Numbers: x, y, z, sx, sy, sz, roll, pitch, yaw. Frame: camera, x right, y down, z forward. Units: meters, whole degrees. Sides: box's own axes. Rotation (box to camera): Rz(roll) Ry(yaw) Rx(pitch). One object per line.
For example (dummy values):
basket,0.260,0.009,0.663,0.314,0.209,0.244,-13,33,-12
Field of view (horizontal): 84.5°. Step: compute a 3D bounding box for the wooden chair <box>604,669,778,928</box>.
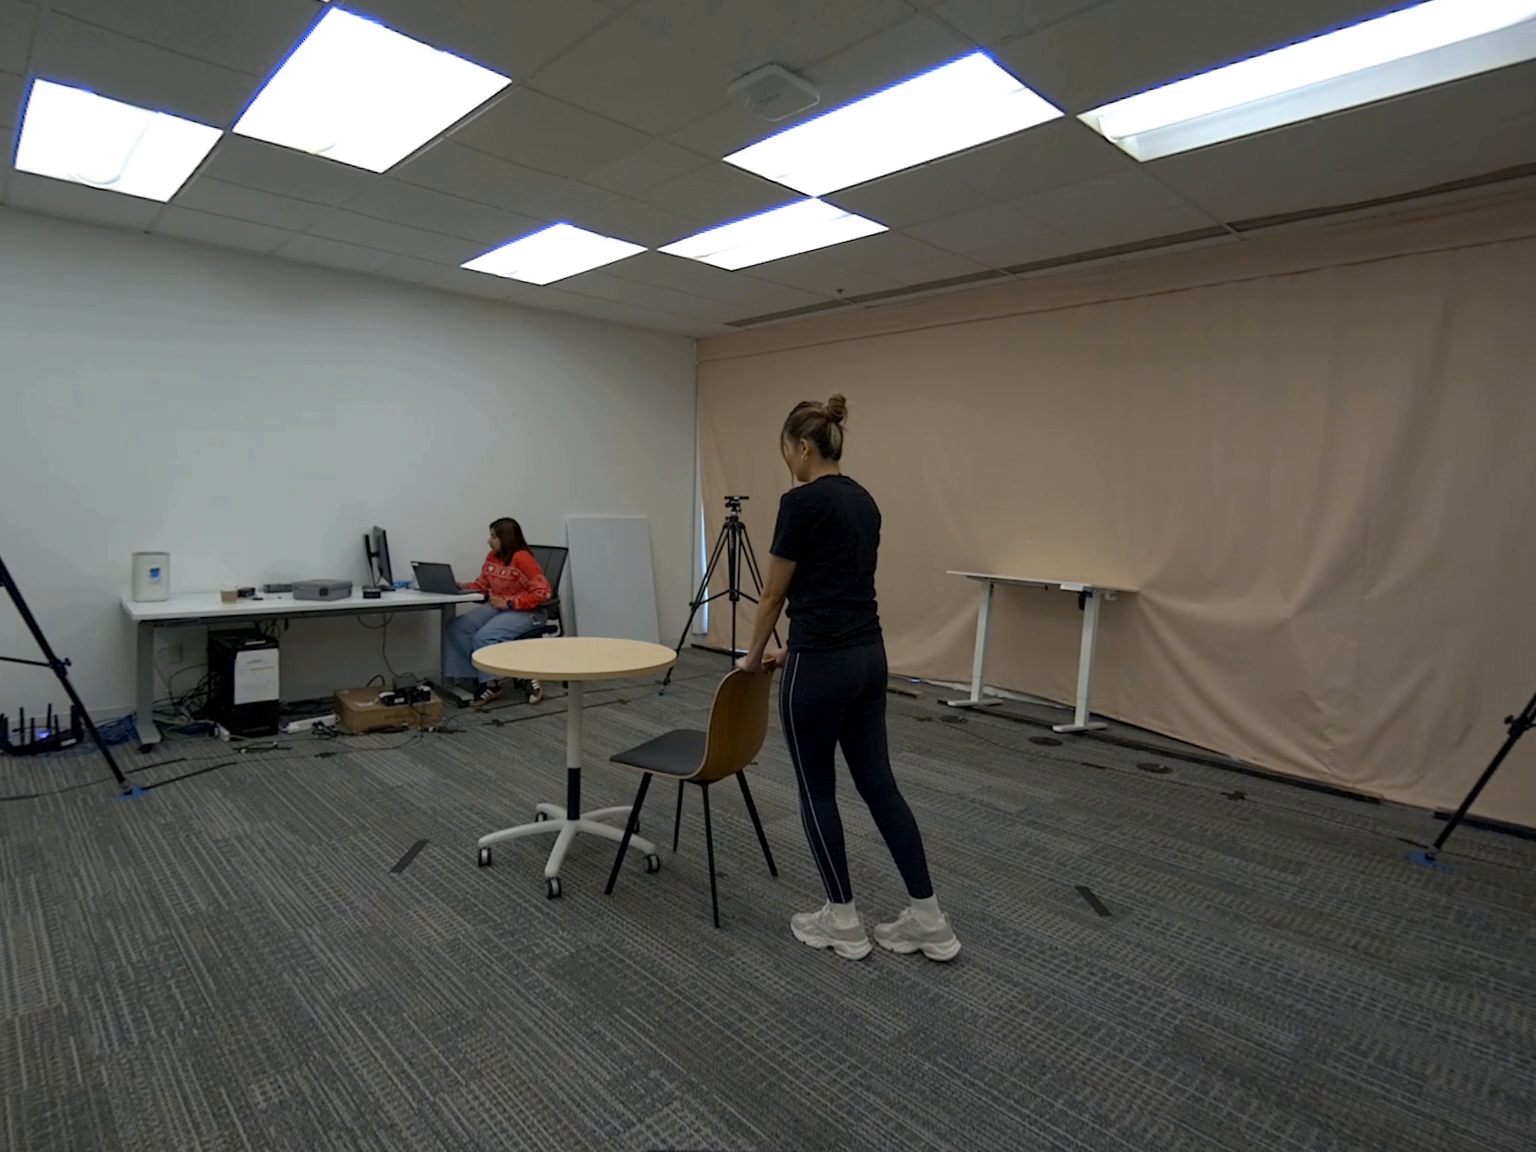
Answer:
wooden chair,-0.267,0.682,2.988,0.535,0.874,0.469,8,6,28
